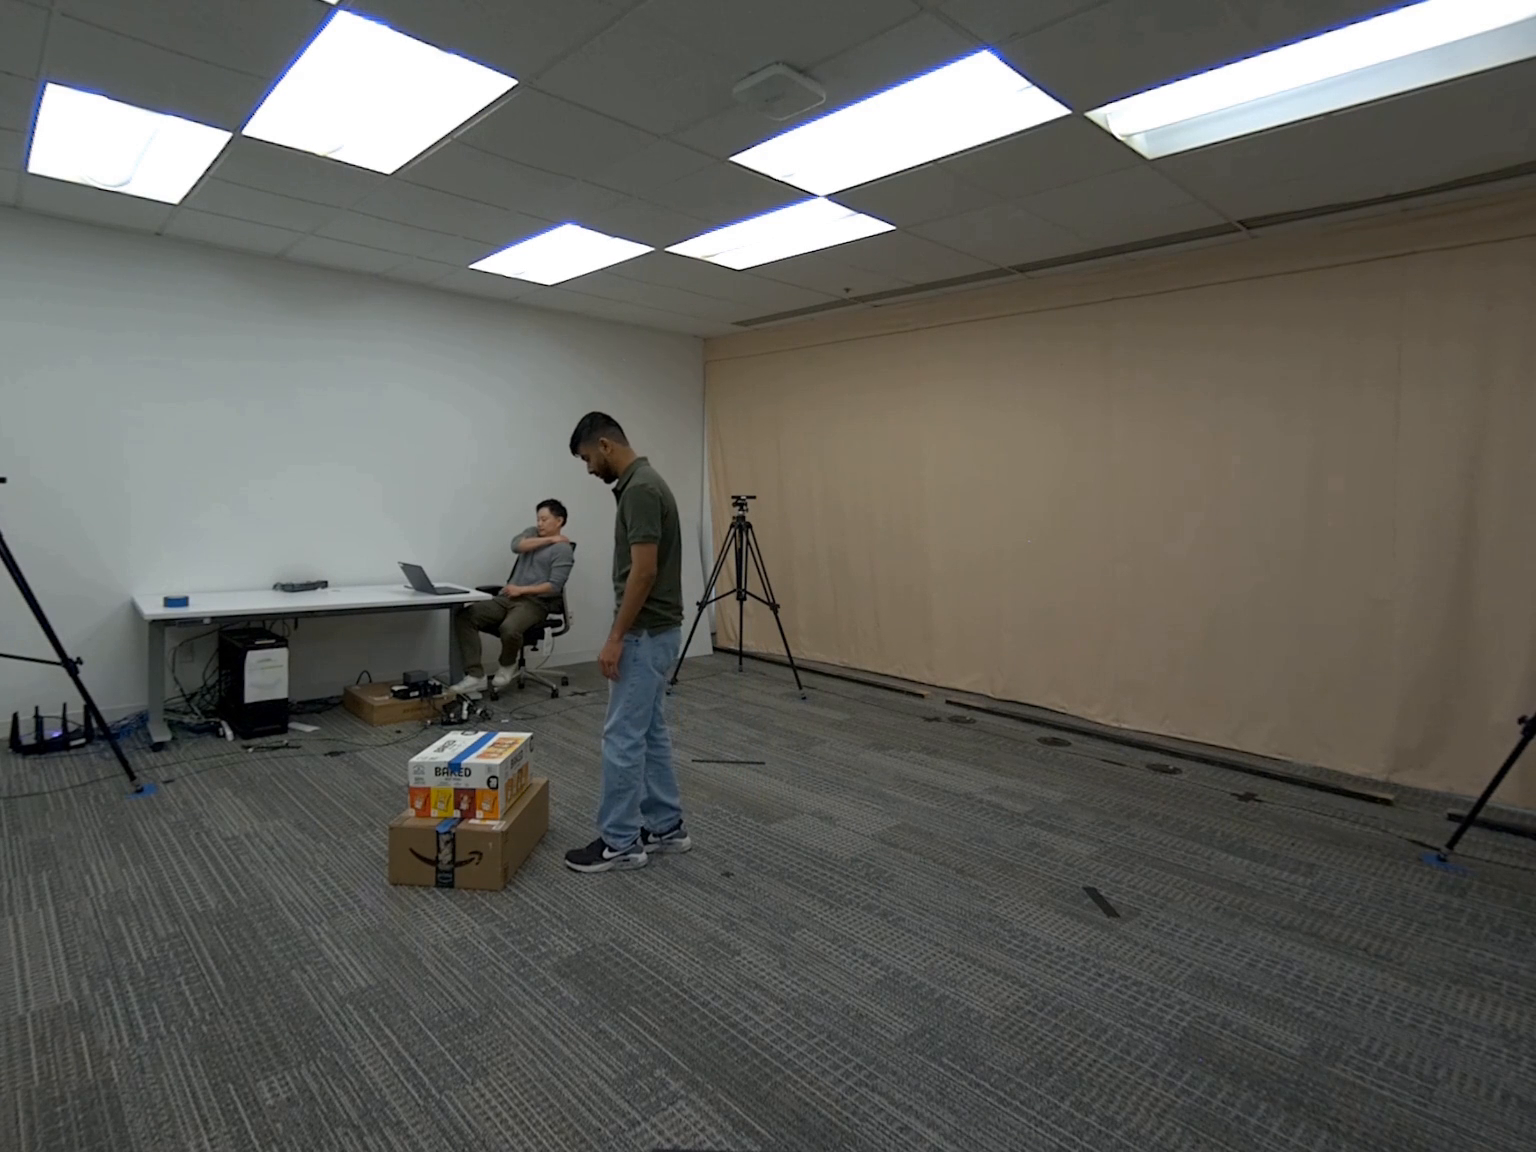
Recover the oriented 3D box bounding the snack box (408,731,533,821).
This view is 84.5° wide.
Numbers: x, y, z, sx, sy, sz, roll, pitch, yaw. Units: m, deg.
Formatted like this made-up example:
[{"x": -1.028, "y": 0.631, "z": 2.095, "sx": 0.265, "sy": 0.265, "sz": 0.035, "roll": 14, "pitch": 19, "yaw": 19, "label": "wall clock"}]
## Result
[{"x": -1.130, "y": 0.752, "z": 3.219, "sx": 0.341, "sy": 0.205, "sz": 0.405, "roll": 1, "pitch": 4, "yaw": 2, "label": "snack box"}]
